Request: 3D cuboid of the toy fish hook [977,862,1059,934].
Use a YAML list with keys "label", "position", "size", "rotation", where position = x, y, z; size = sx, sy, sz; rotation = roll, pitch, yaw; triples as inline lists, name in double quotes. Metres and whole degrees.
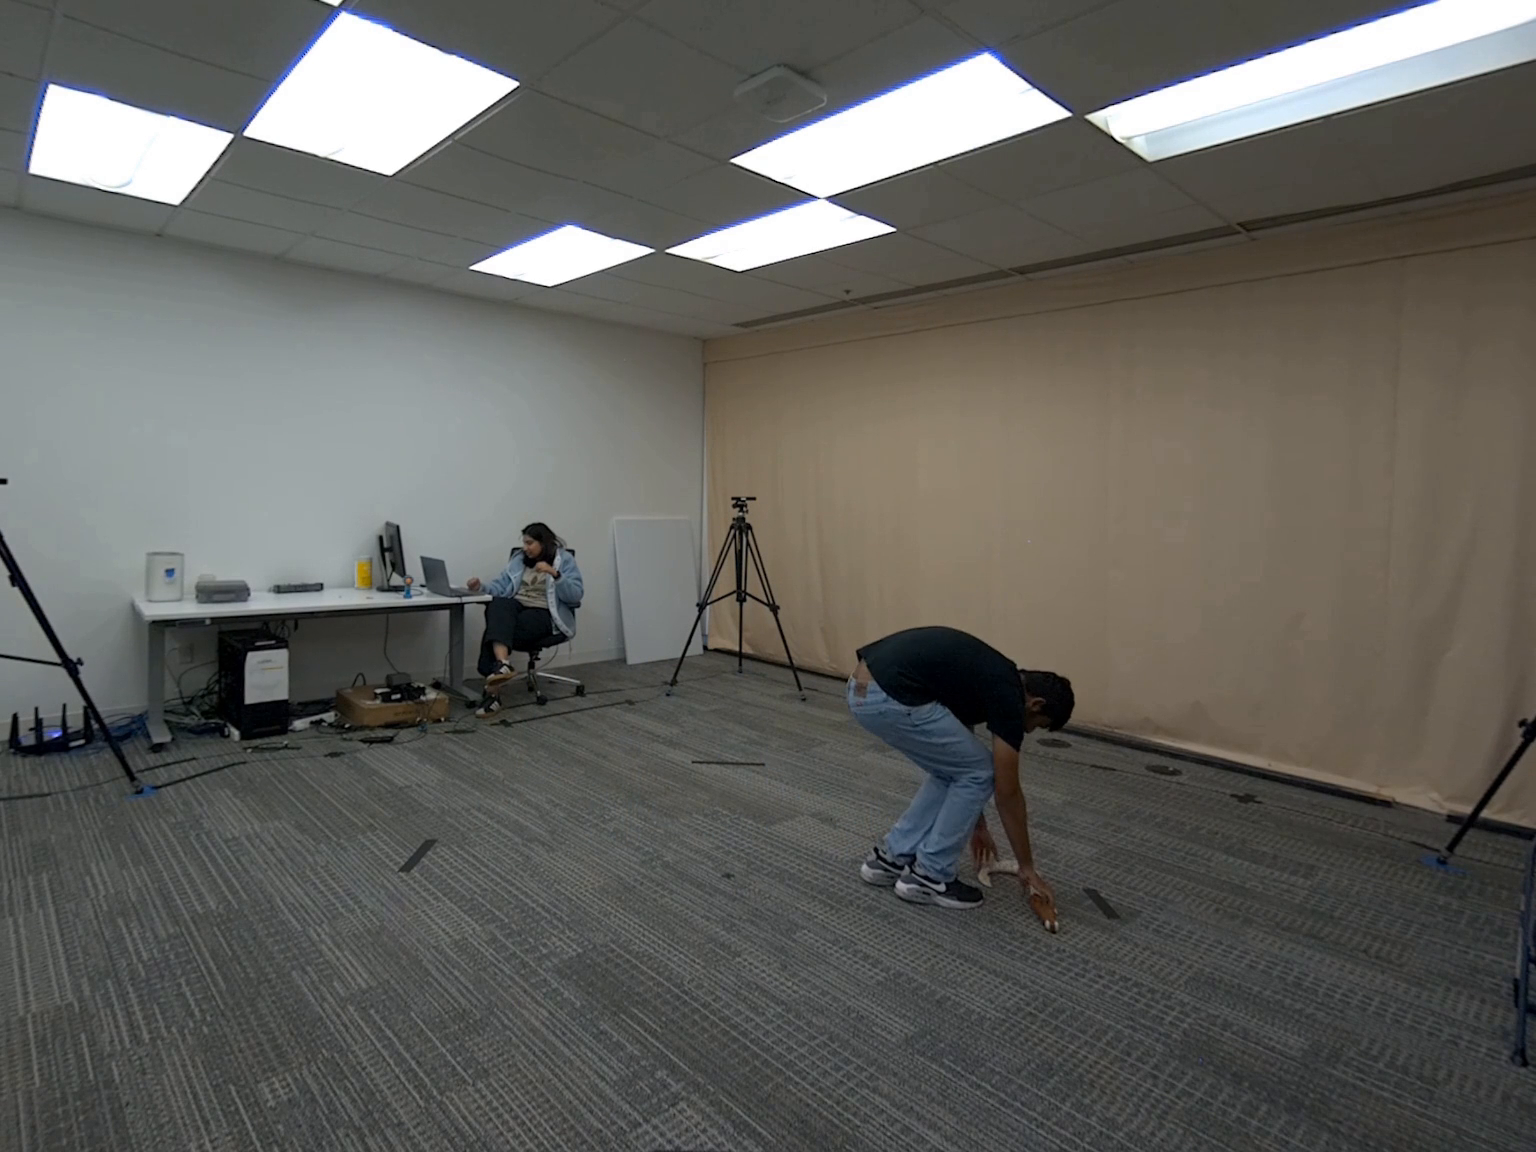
- label: "toy fish hook"
  position: [0.874, 1.121, 2.984]
  size: [0.225, 0.048, 0.506]
  rotation: [-5, 3, 2]
